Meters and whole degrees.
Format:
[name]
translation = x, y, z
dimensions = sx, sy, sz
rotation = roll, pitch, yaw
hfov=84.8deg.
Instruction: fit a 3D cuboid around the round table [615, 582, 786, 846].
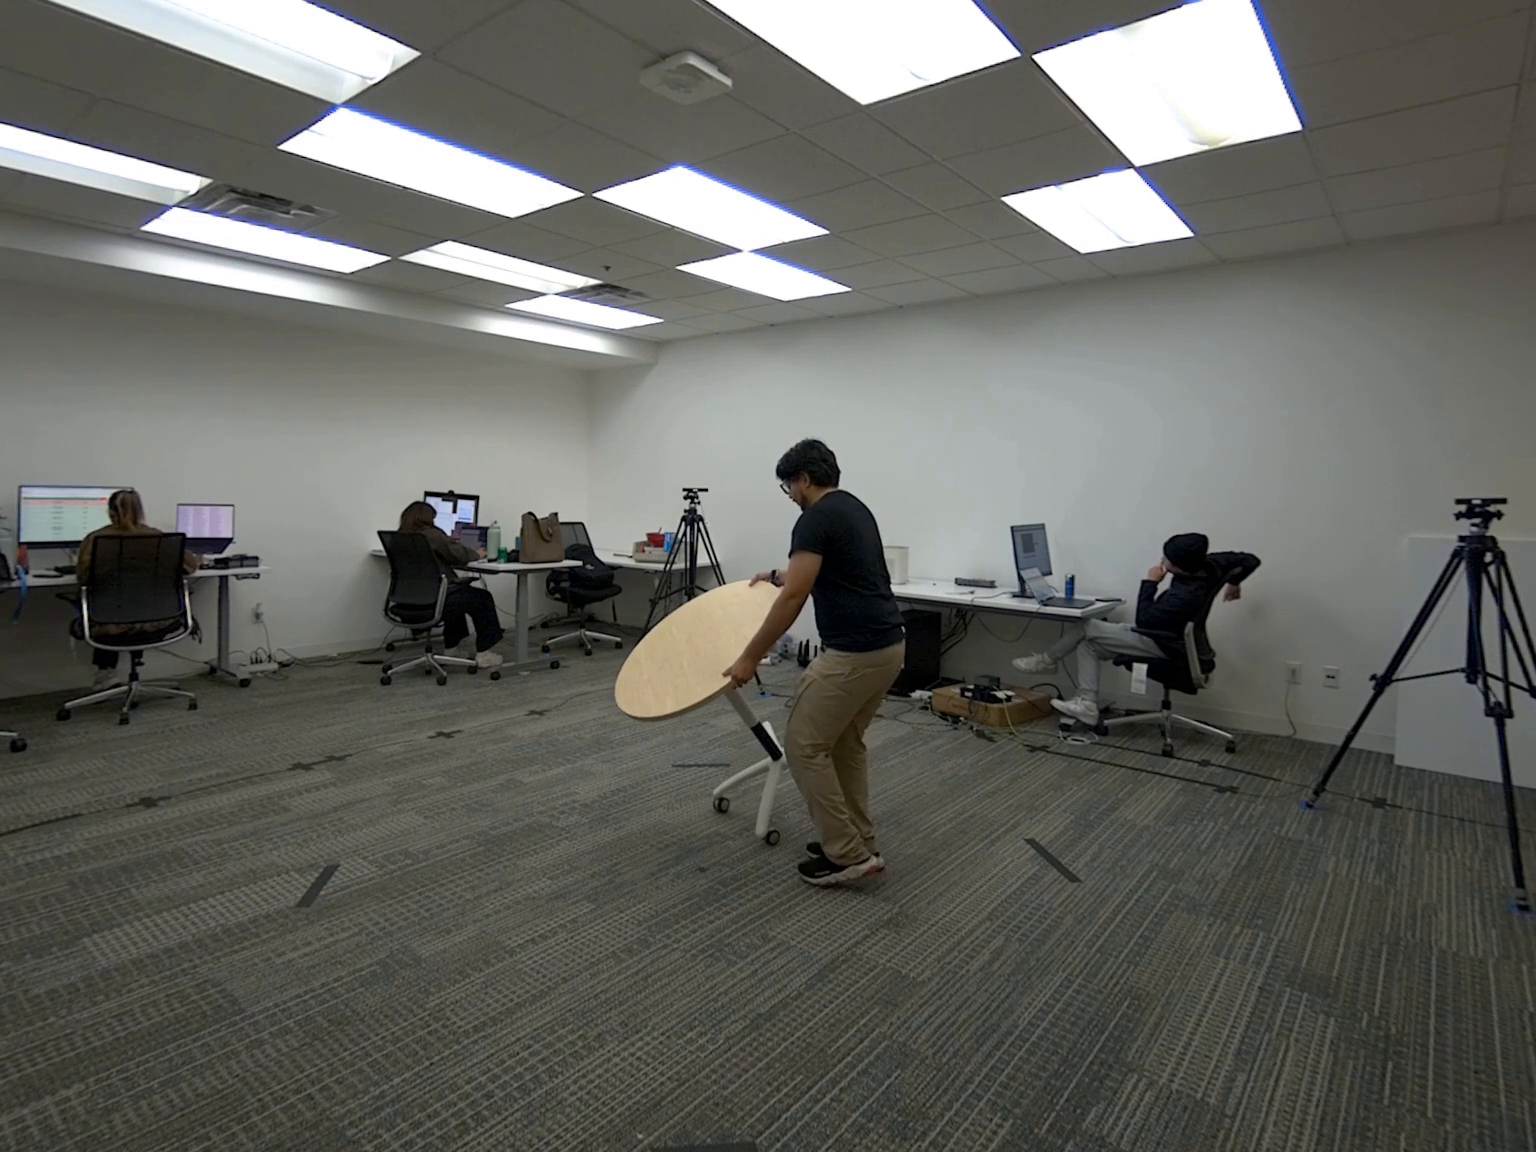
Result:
[round table]
translation = -0.100, 0.564, 3.475
dimensions = 0.789, 0.764, 0.803
rotation = -28, 24, 11
